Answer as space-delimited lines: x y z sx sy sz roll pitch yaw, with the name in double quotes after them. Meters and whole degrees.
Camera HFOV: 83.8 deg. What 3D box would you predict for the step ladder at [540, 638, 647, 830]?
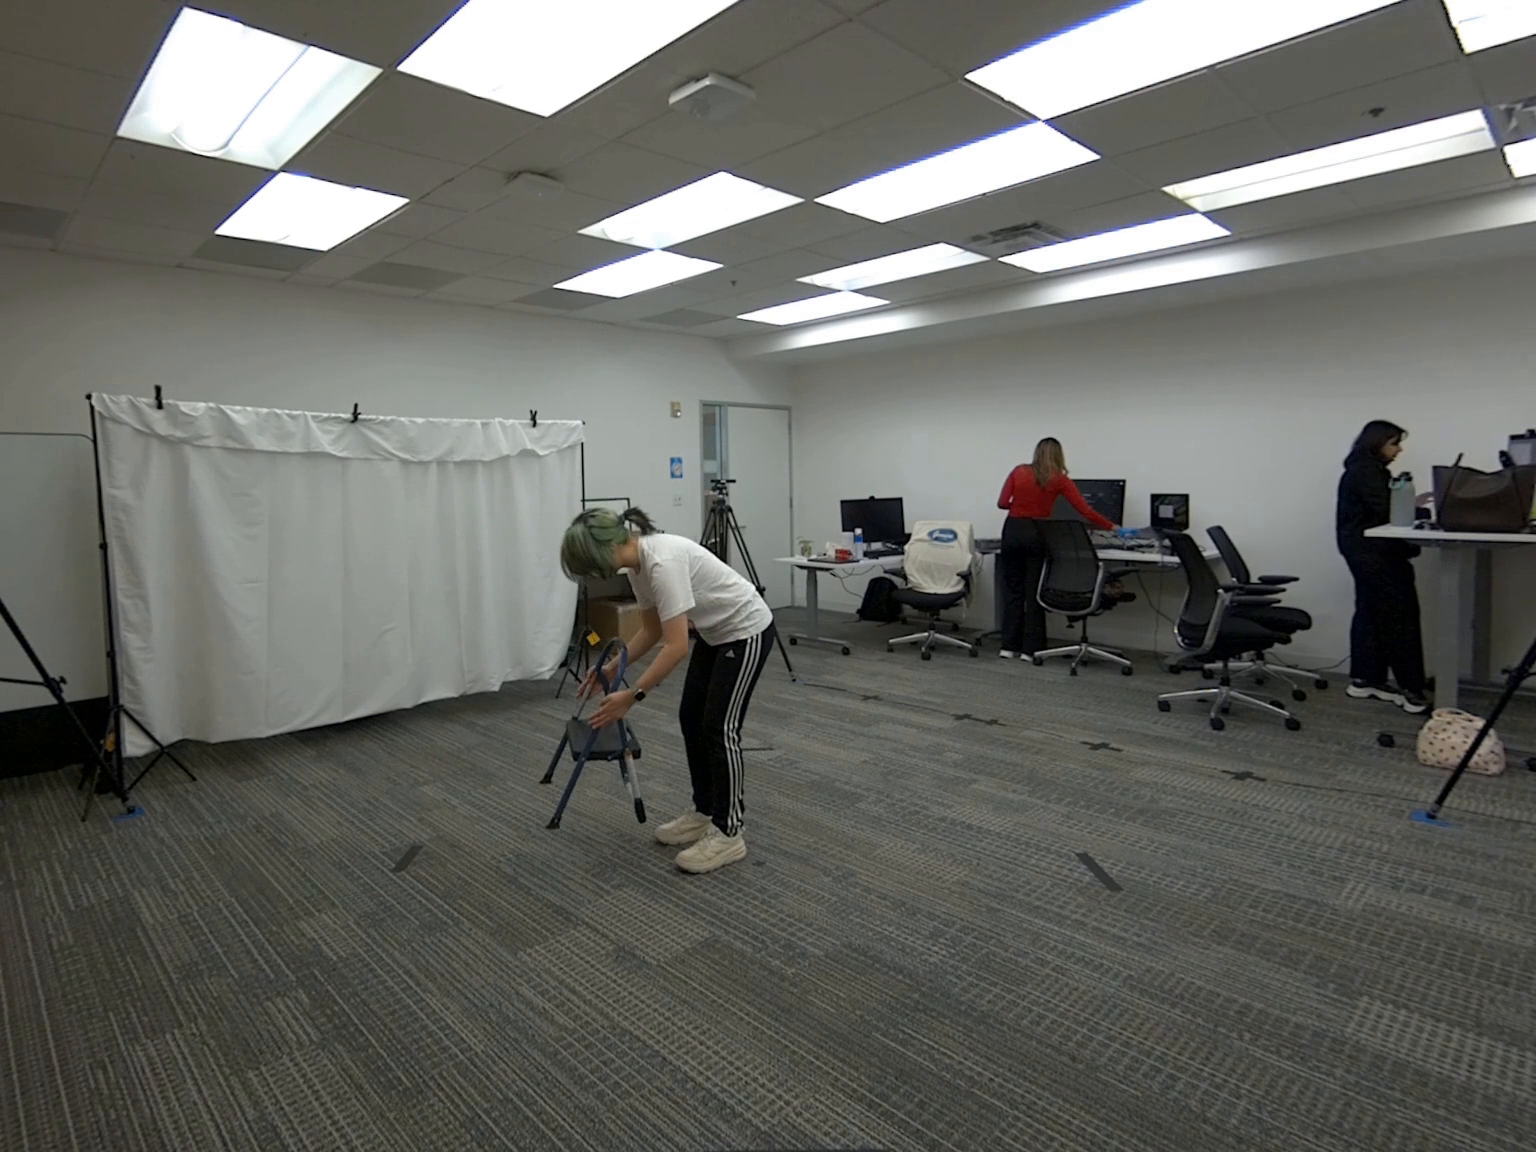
-0.626 0.540 3.143 0.343 0.603 0.440 3 6 -18 "step ladder"
